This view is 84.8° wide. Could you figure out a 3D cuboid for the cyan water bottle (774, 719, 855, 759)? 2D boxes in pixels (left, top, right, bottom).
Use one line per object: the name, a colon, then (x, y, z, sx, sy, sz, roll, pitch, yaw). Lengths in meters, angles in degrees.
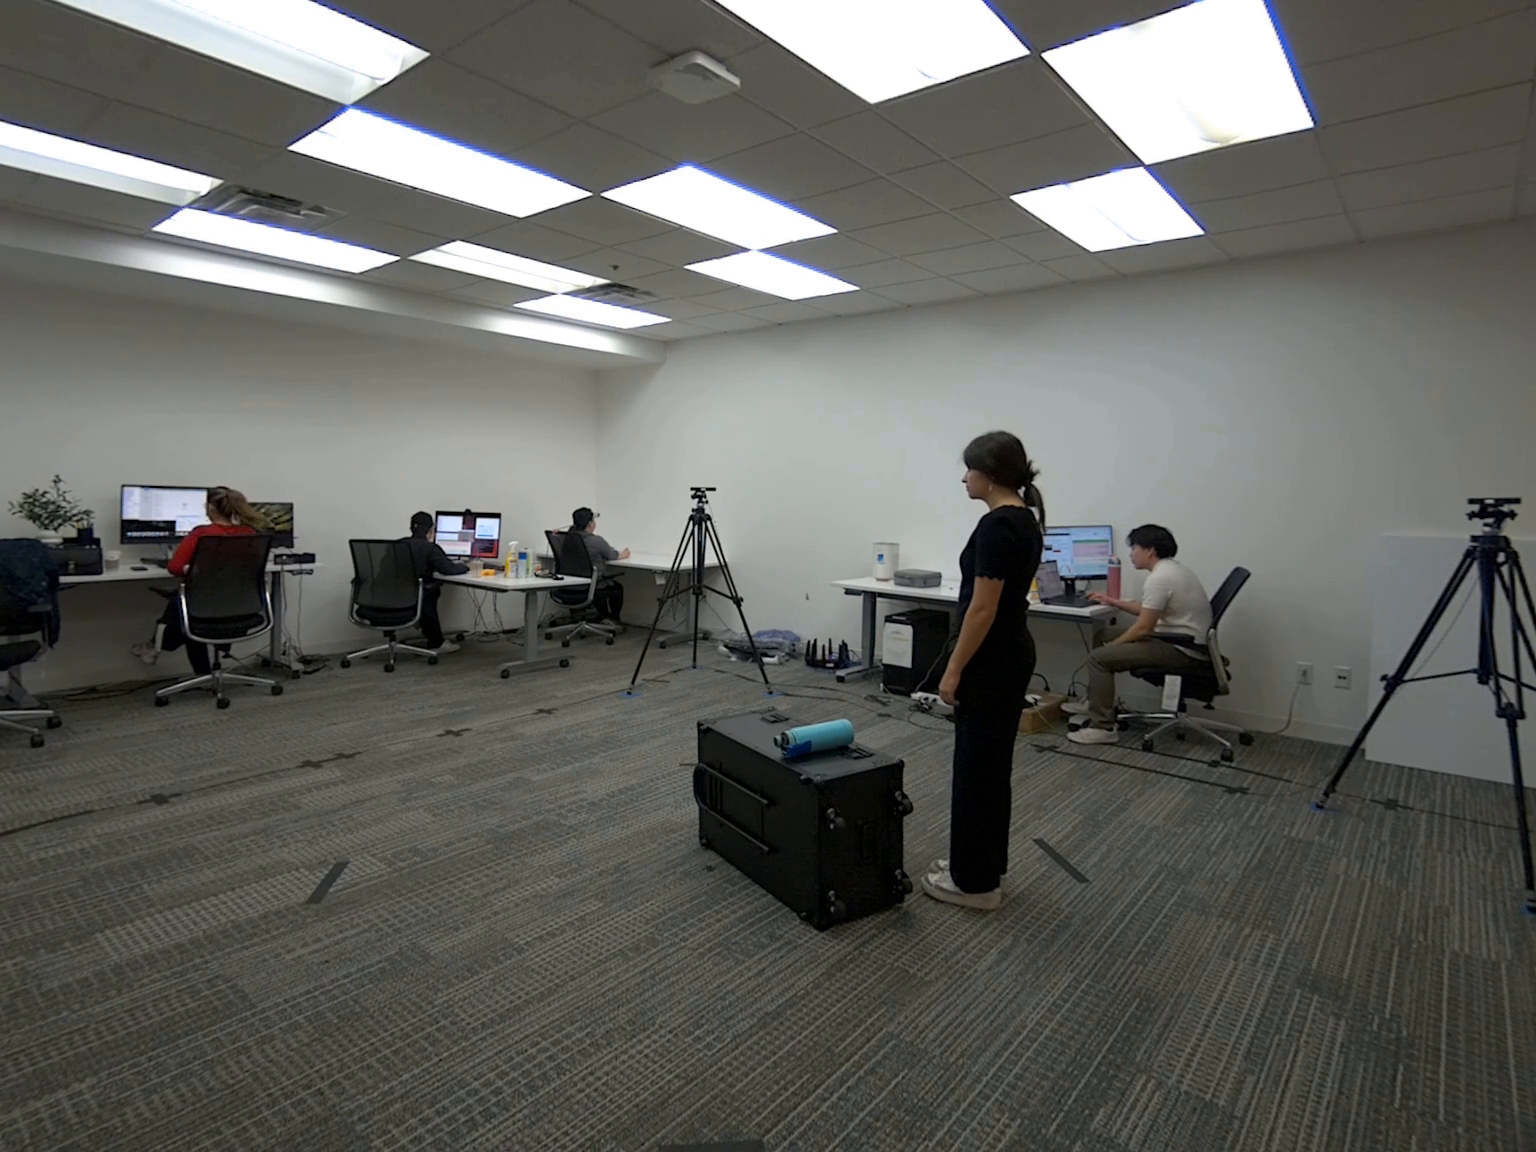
cyan water bottle: (0.152, 0.557, 2.939, 0.277, 0.092, 0.095, -5, 6, -24)
